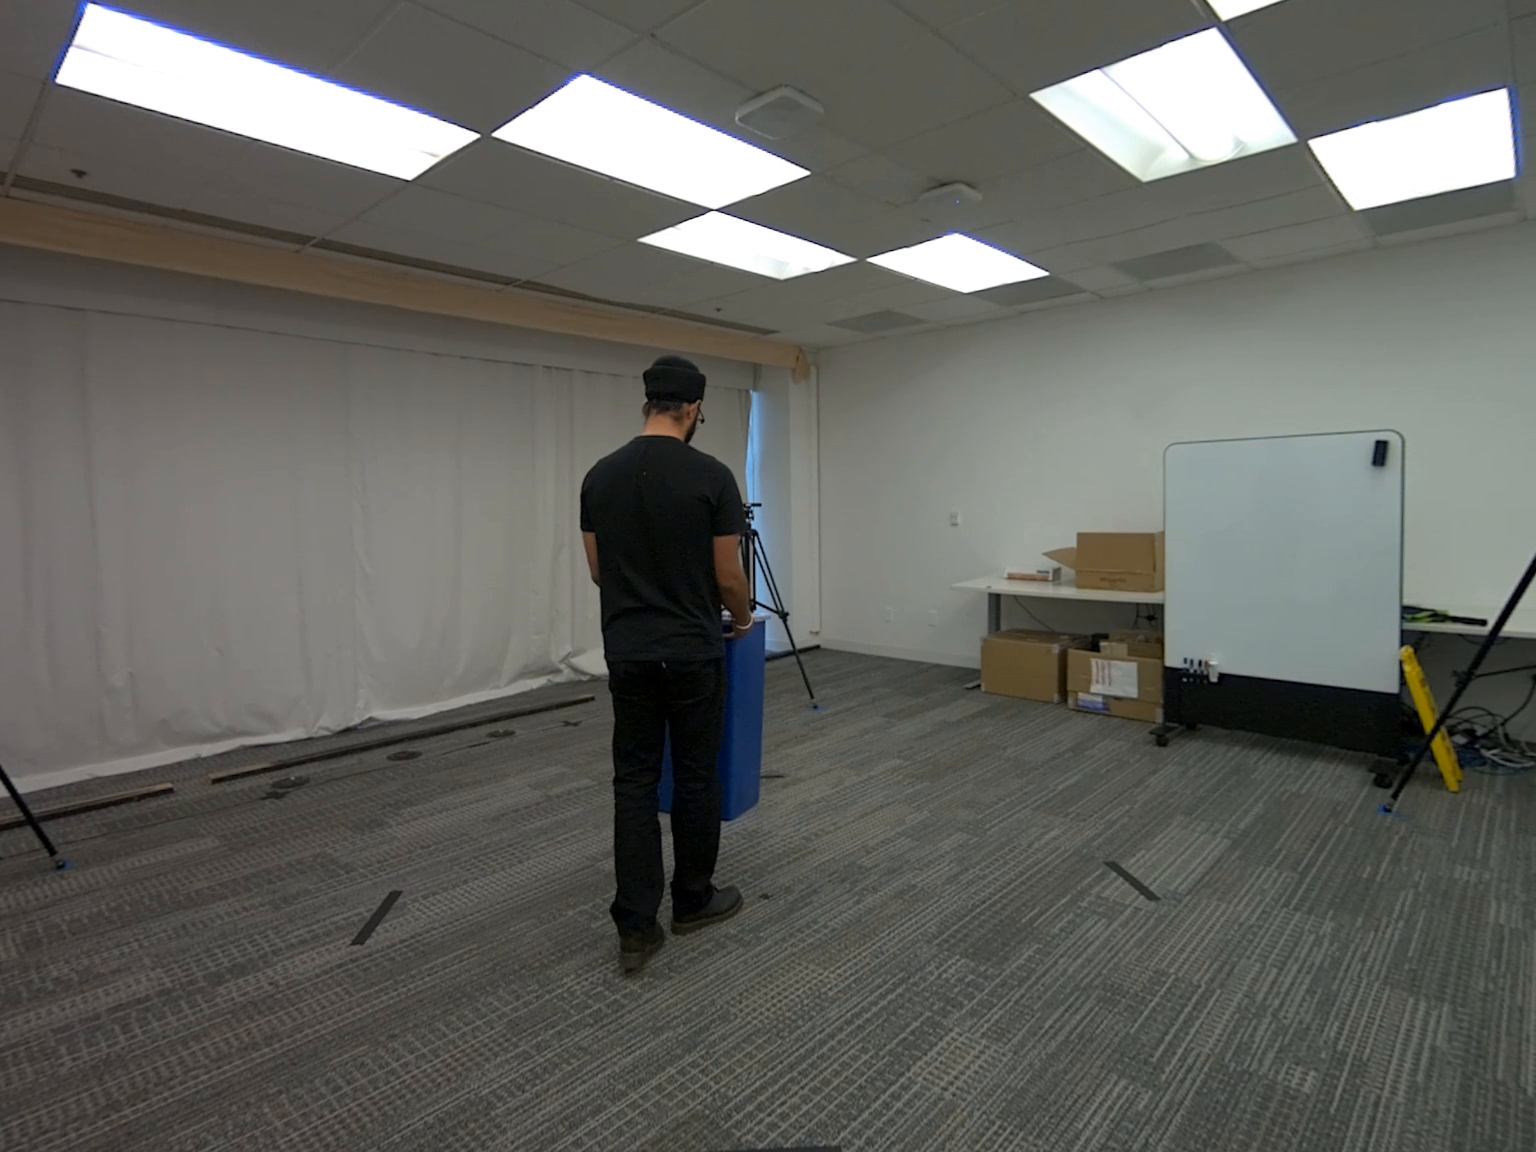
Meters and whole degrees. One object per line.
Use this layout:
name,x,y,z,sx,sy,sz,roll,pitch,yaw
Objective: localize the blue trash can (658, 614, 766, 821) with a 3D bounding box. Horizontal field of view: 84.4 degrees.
blue trash can,-0.213,0.502,3.127,0.387,0.714,0.365,0,-1,22
